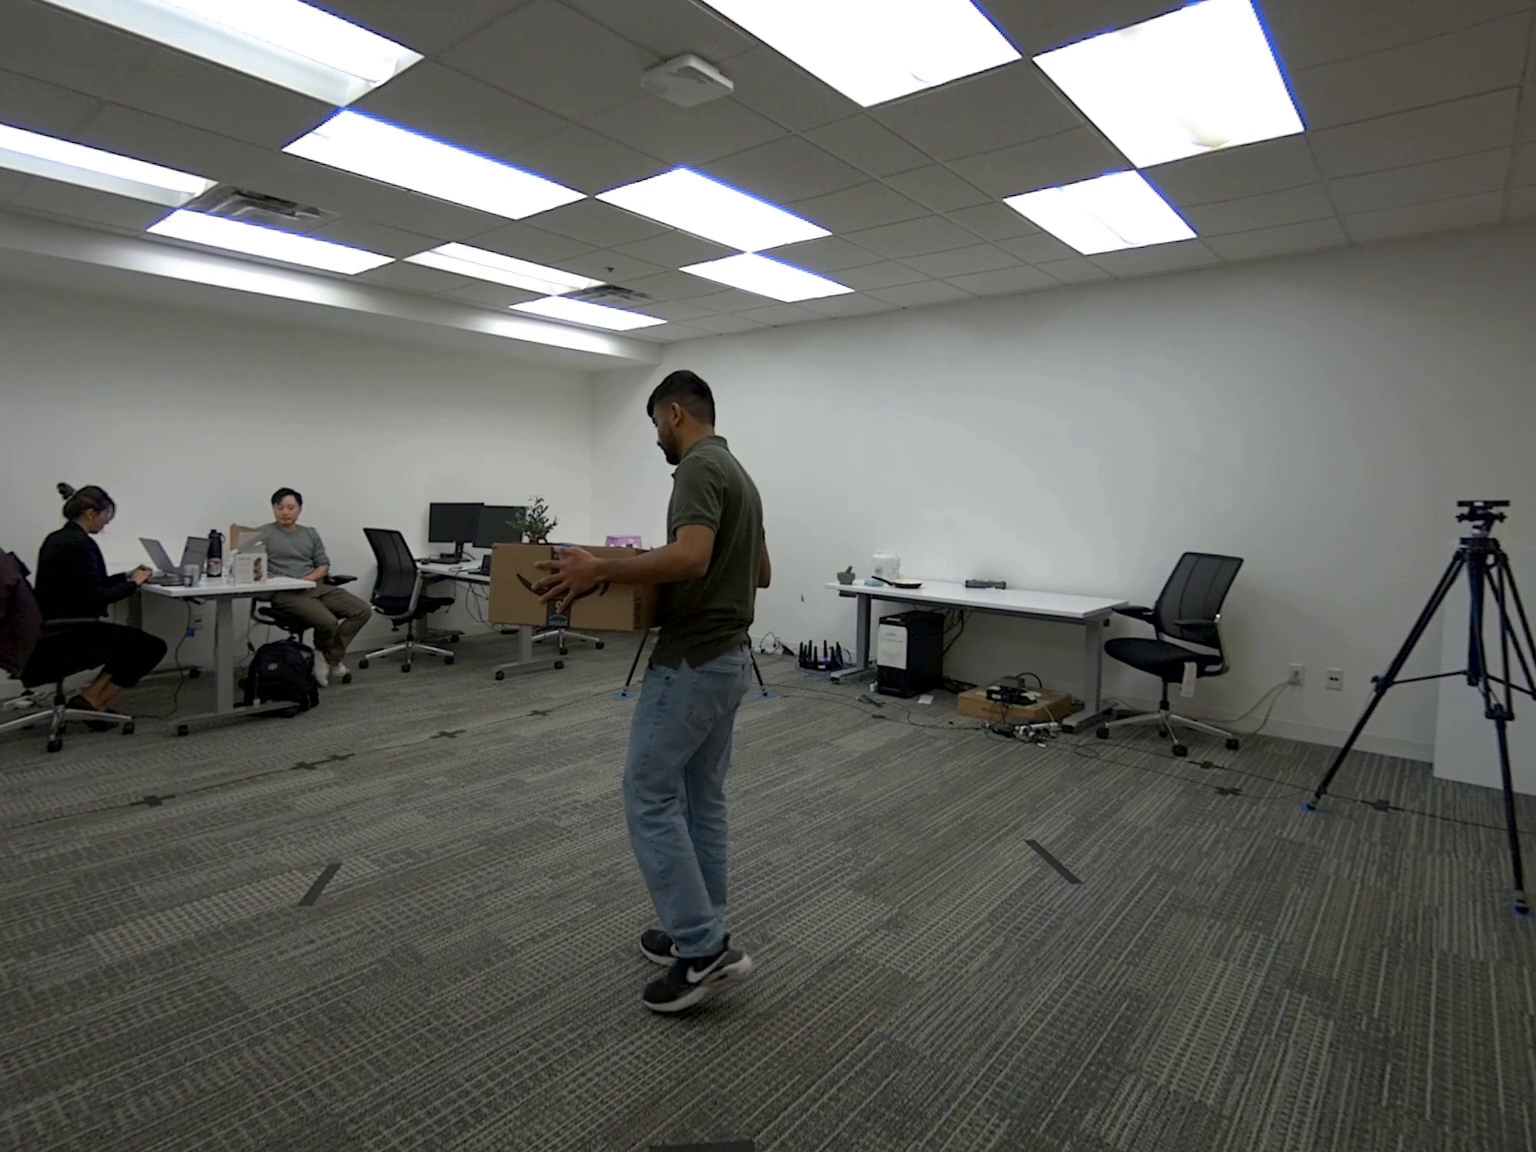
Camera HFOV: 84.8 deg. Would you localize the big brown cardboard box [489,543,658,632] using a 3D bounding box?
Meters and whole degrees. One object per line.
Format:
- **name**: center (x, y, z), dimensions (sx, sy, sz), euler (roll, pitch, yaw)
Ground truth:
- **big brown cardboard box**: center (-0.487, 0.025, 2.506), dimensions (0.422, 0.233, 0.582), euler (2, 1, 9)
